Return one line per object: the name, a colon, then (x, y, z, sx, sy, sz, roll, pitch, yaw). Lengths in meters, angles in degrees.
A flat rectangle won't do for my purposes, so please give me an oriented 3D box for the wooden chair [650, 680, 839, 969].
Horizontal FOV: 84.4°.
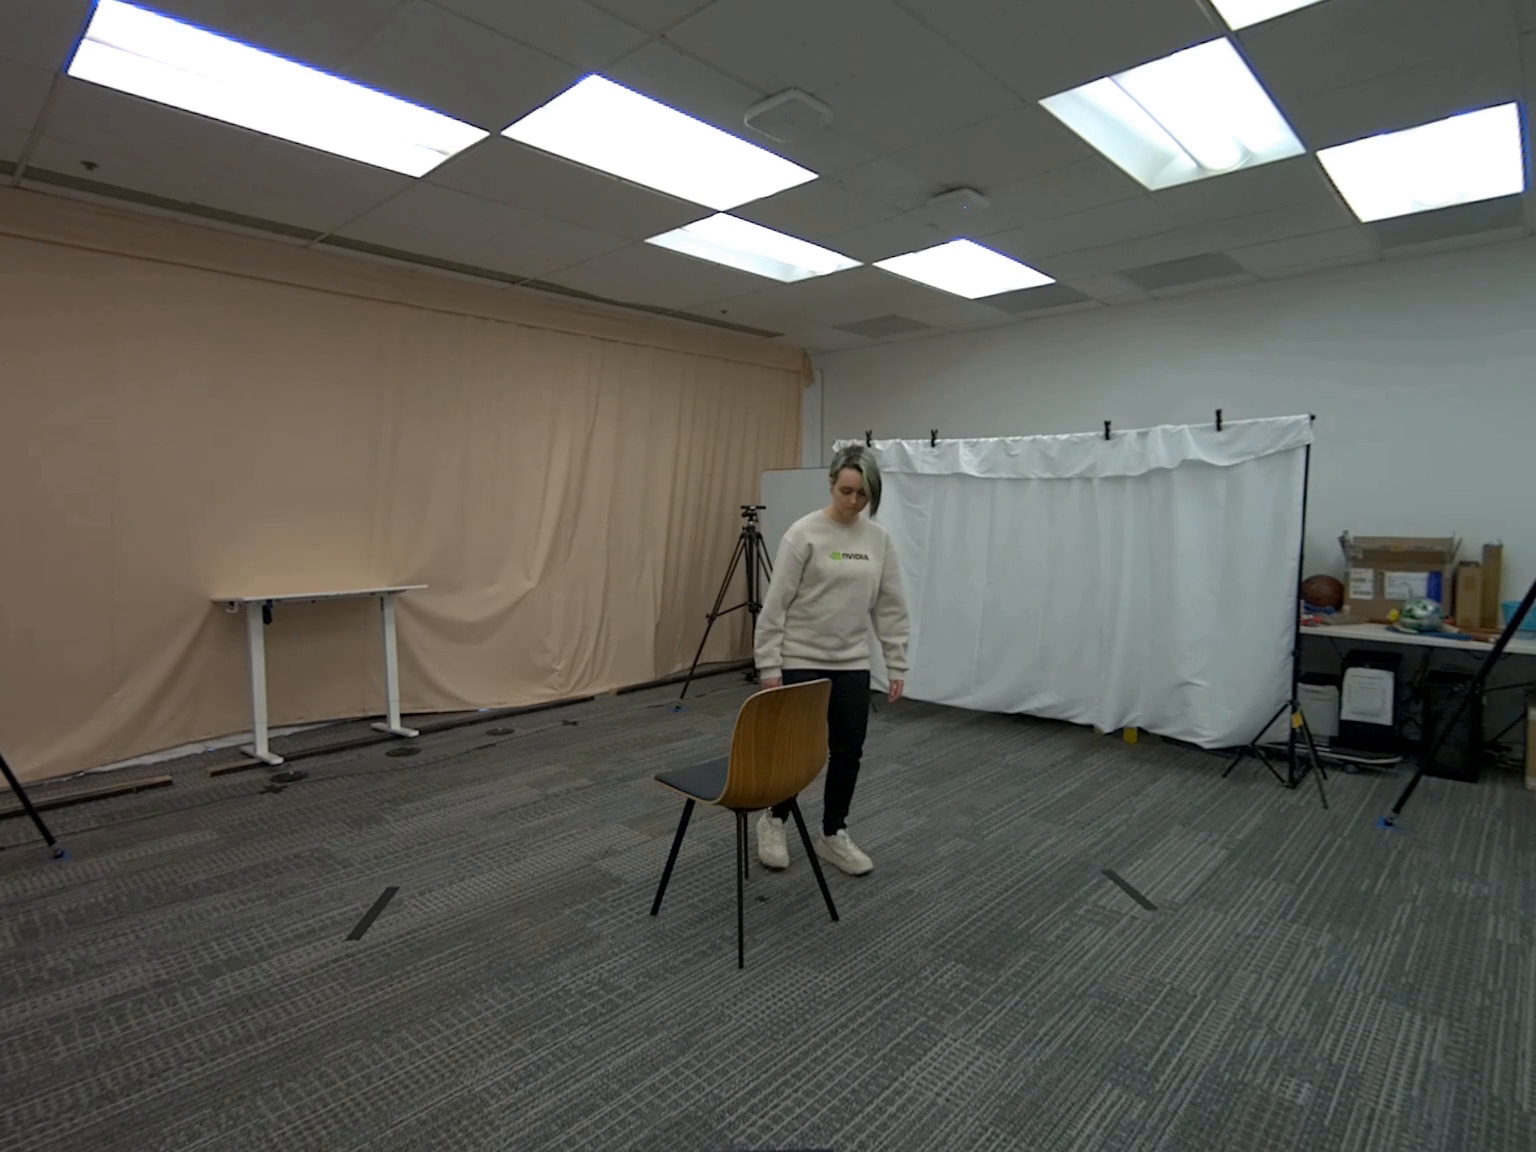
wooden chair: (-0.091, 0.731, 2.821, 0.463, 0.874, 0.541, -4, 9, -43)
